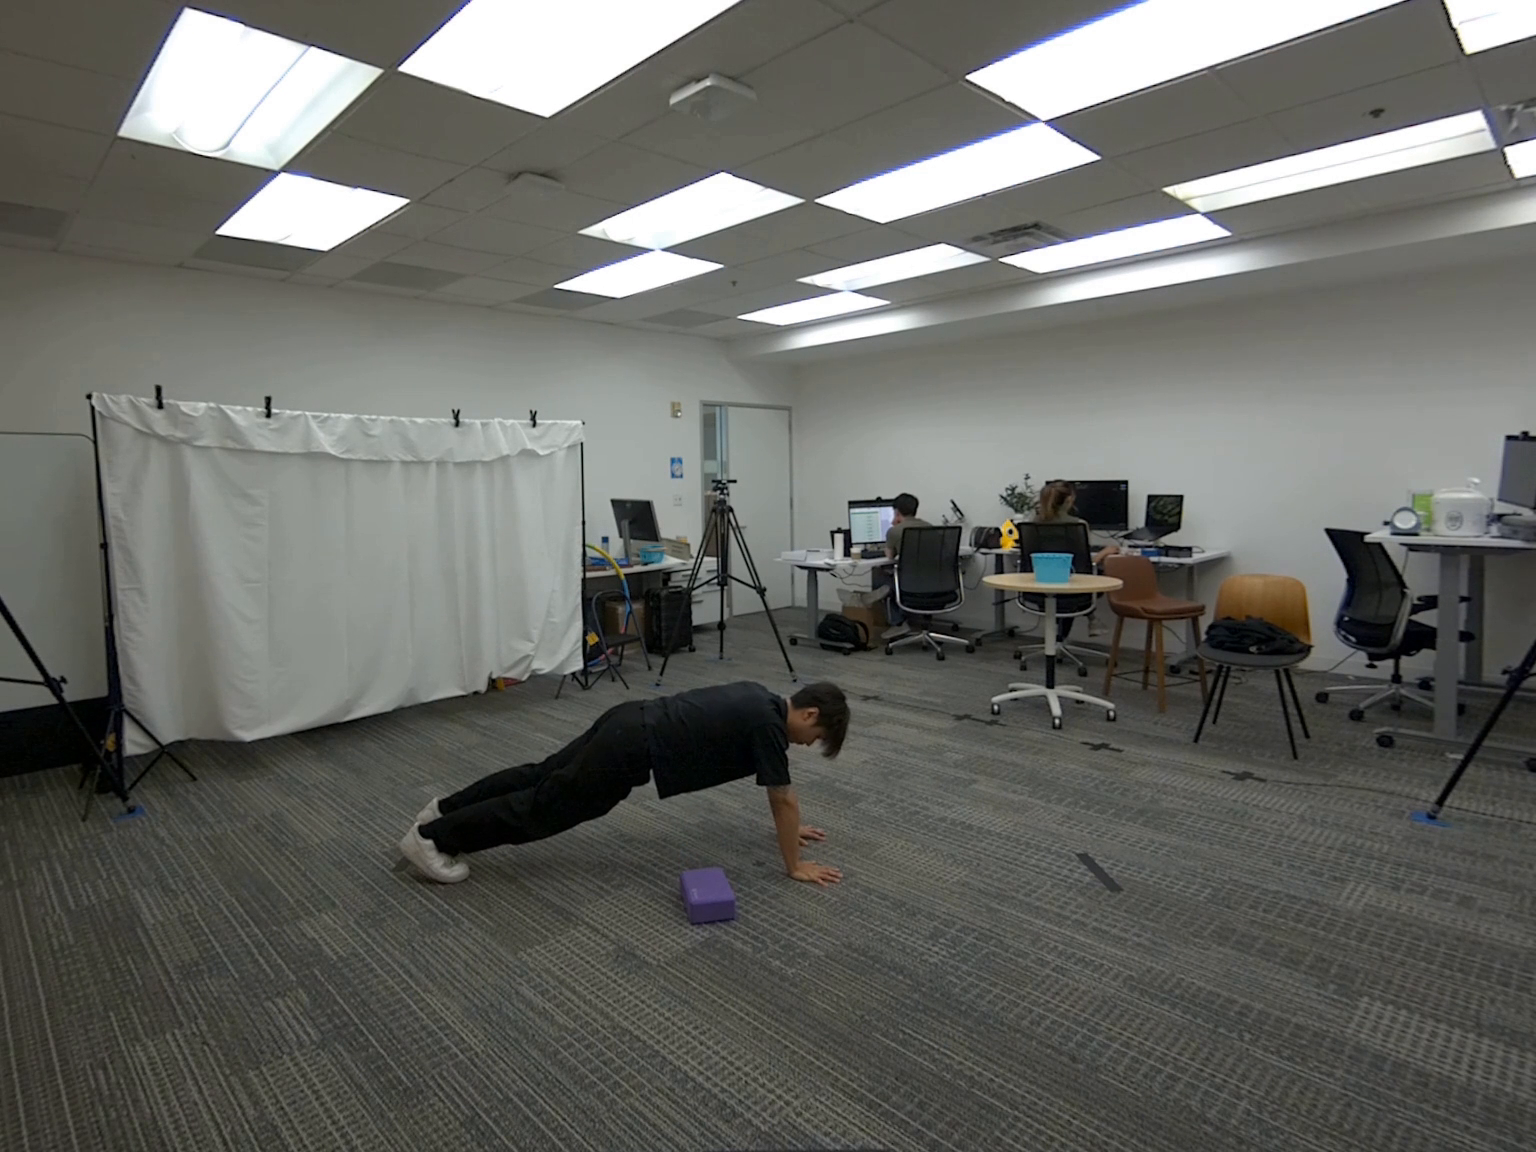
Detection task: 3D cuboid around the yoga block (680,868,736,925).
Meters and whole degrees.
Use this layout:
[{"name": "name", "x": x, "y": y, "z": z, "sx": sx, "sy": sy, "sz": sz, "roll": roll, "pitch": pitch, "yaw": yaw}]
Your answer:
[{"name": "yoga block", "x": -0.195, "y": 1.048, "z": 2.803, "sx": 0.147, "sy": 0.076, "sz": 0.233, "roll": -2, "pitch": 5, "yaw": -13}]
